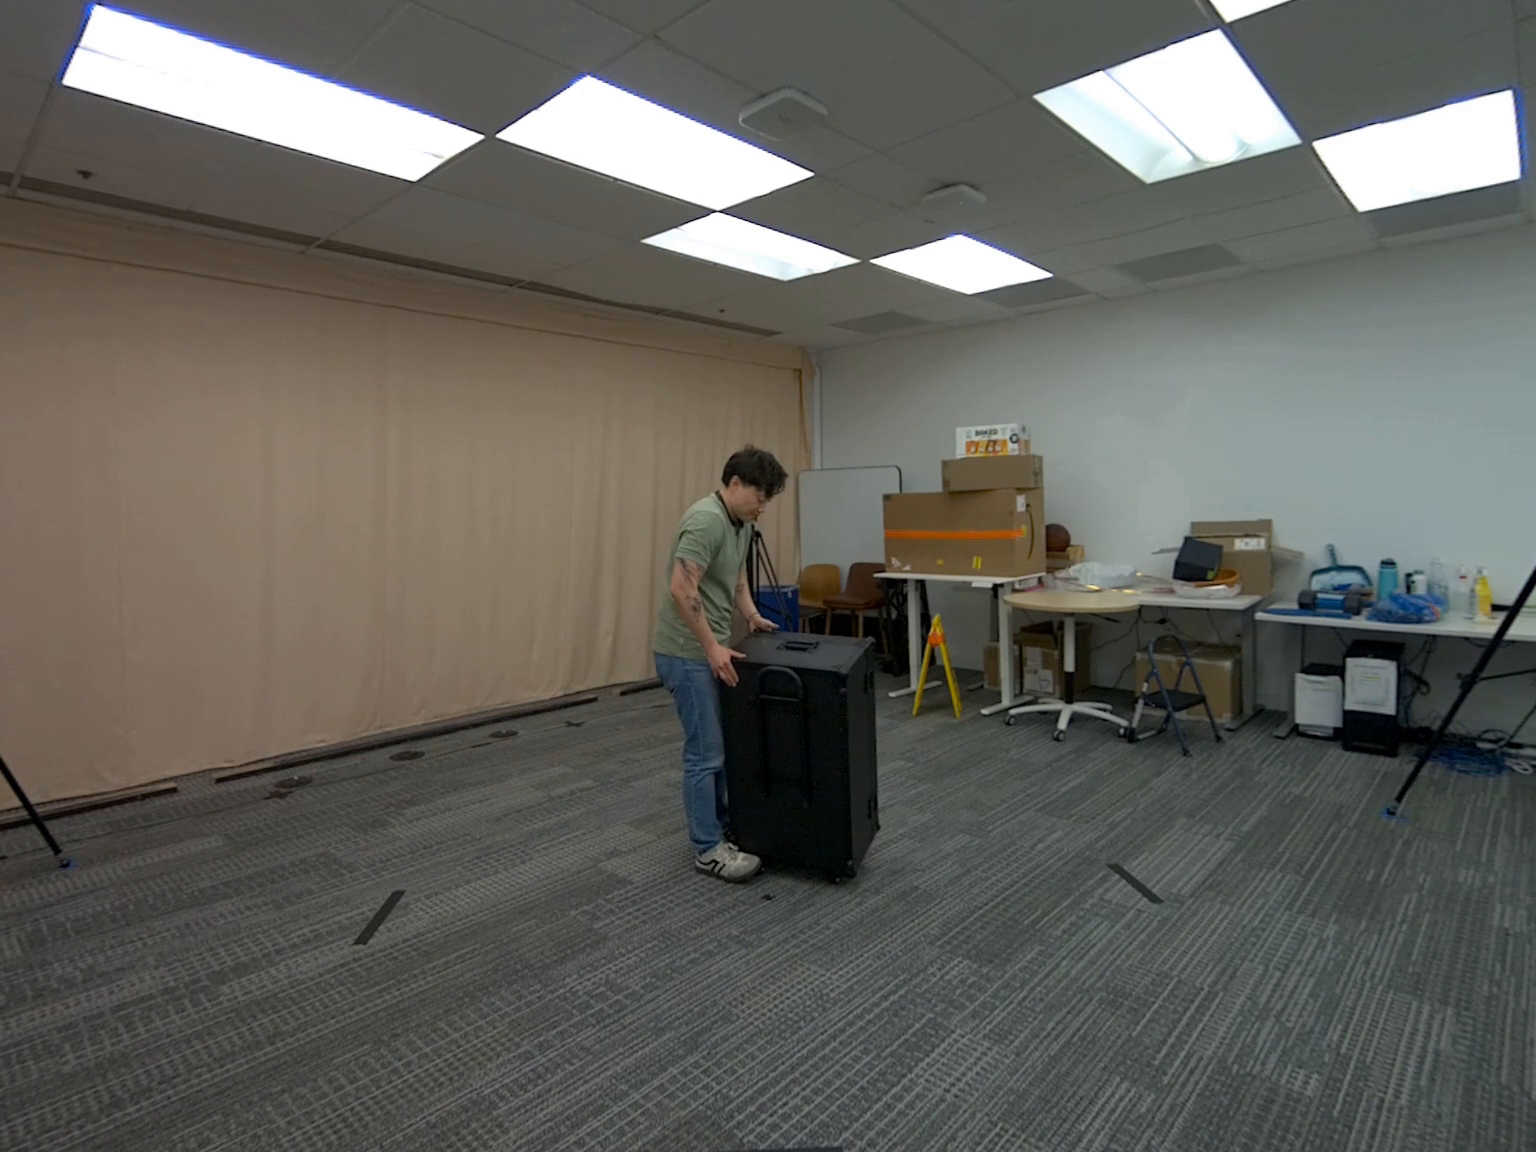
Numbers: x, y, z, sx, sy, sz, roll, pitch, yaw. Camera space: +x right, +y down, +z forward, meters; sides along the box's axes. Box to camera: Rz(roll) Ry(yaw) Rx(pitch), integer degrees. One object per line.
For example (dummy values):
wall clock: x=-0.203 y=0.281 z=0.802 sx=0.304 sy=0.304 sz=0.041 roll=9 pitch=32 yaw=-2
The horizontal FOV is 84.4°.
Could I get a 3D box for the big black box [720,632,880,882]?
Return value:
big black box: x=0.145 y=0.686 z=3.152 sx=0.534 sy=0.853 sz=0.390 roll=3 pitch=15 yaw=24
